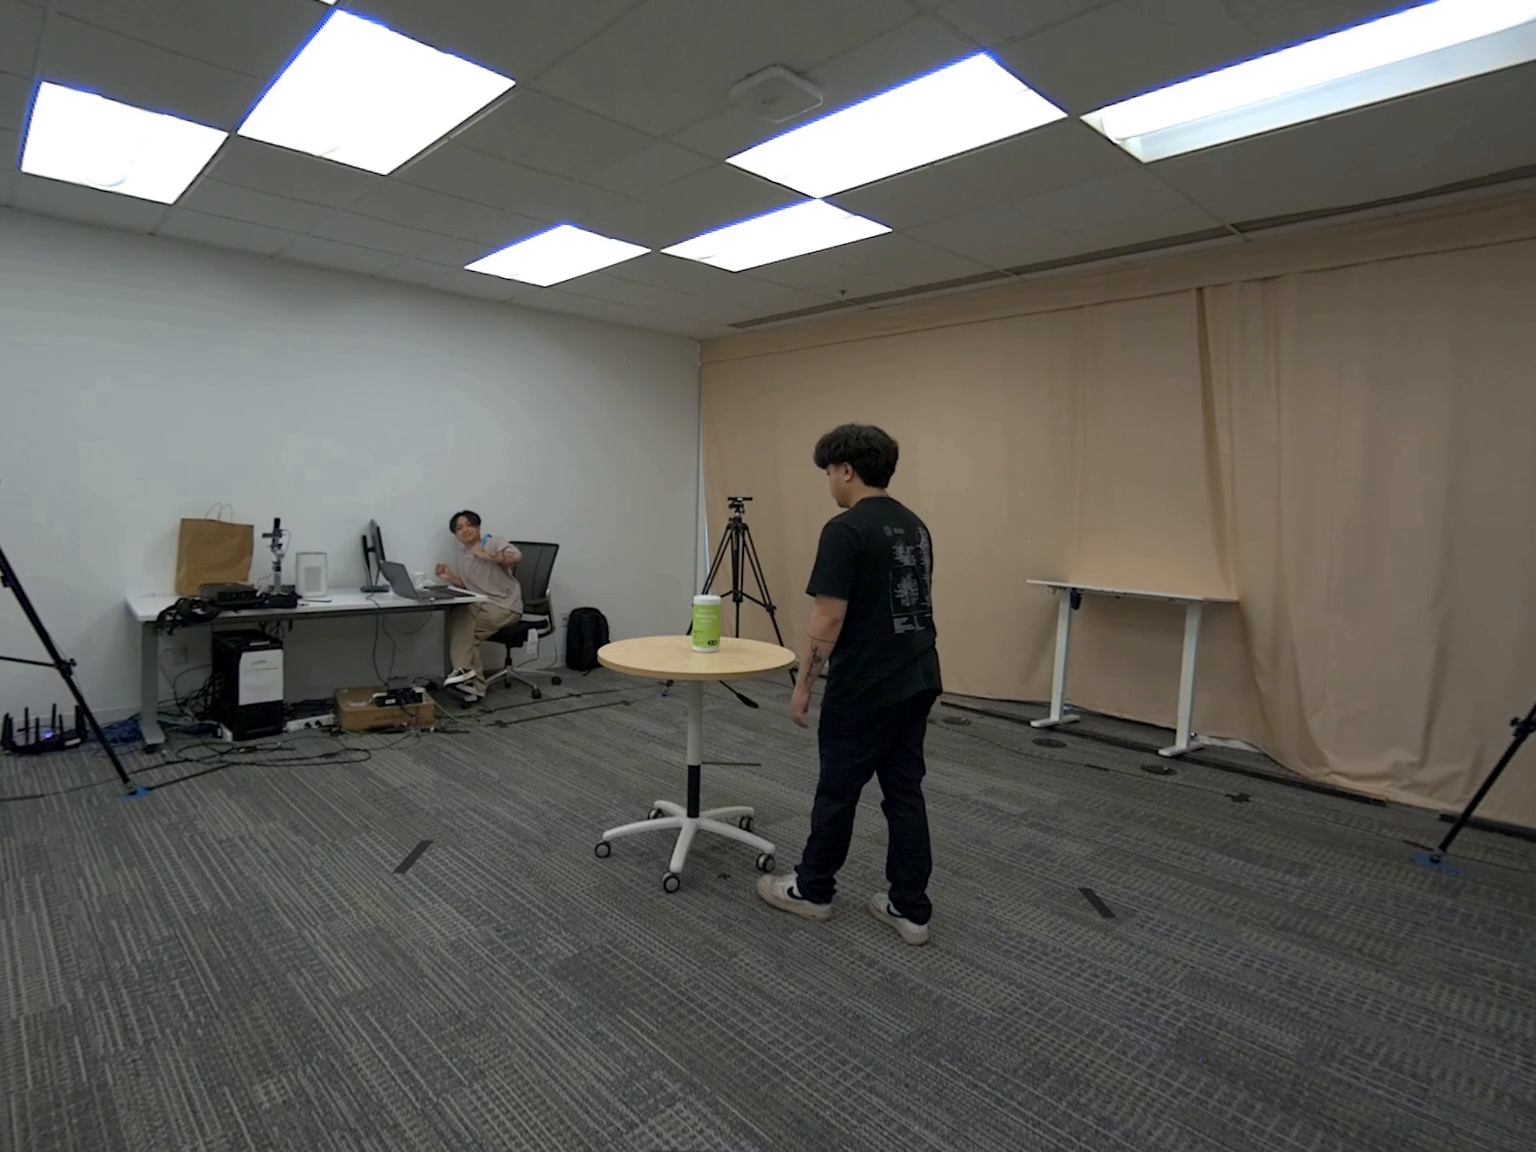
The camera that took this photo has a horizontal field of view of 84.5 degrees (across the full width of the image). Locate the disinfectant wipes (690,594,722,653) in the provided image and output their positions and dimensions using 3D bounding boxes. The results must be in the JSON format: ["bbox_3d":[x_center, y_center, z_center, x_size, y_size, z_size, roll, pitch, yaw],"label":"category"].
[{"bbox_3d":[-0.252,0.186,3.315,0.118,0.217,0.118,2,5,-2],"label":"disinfectant wipes"}]
